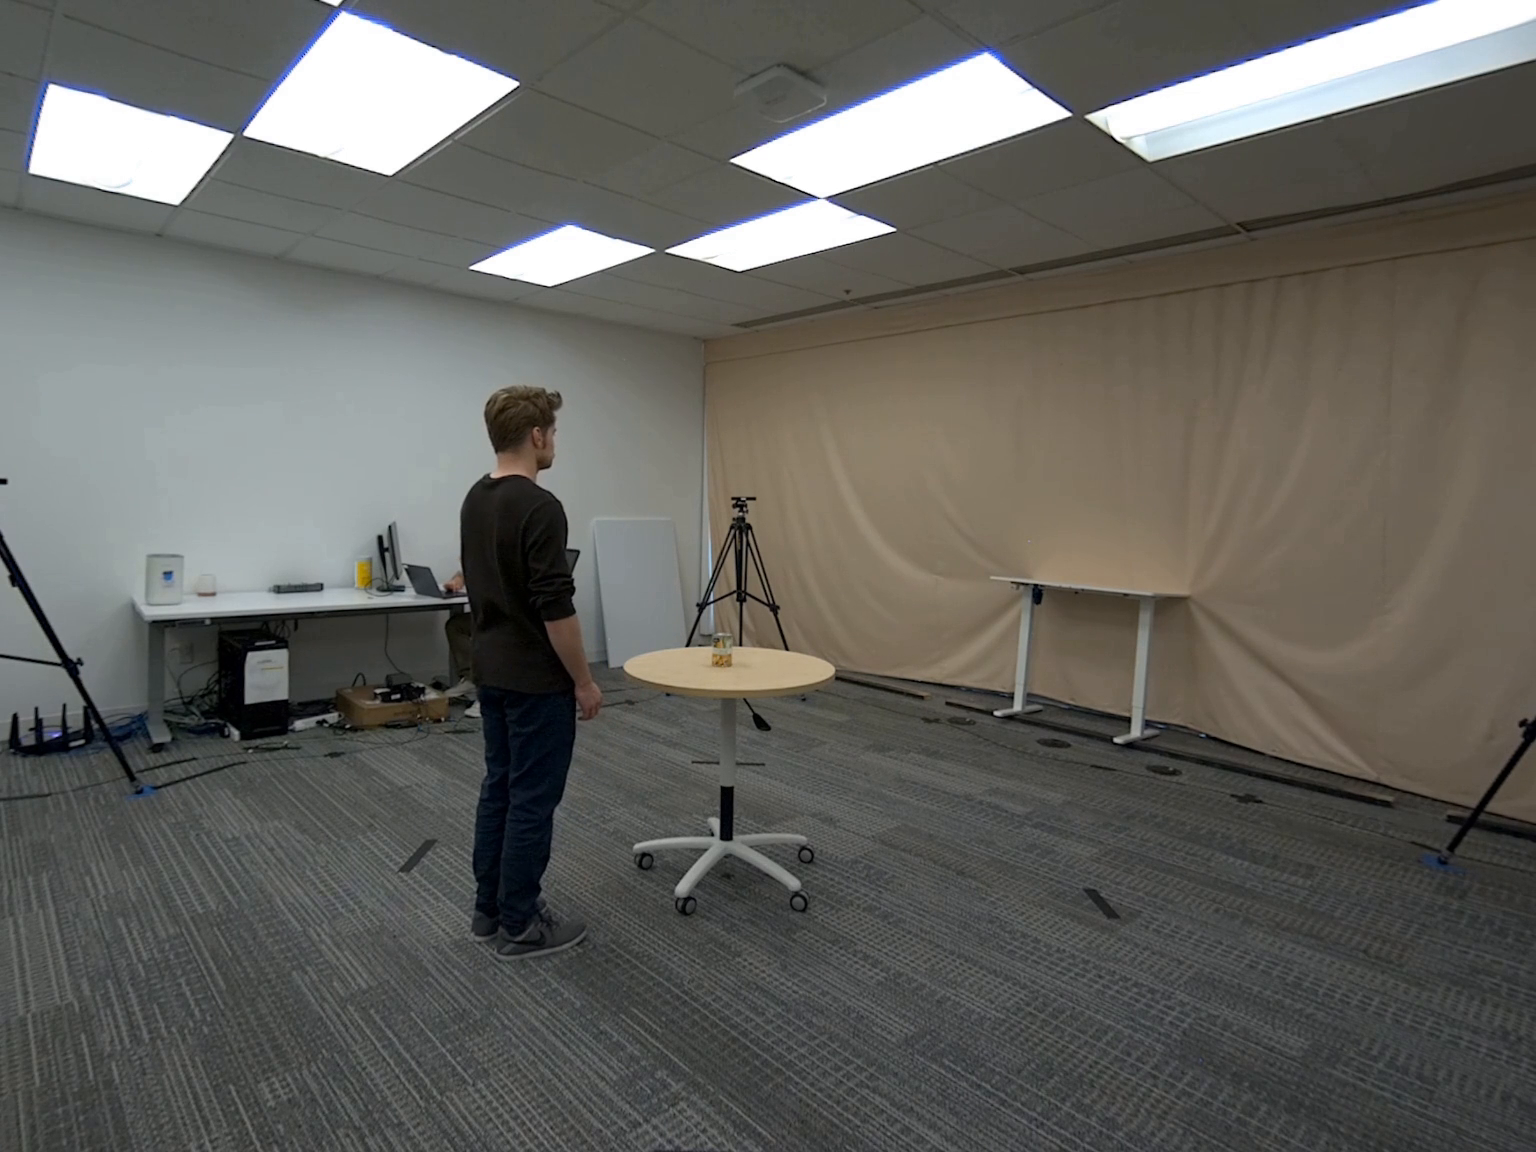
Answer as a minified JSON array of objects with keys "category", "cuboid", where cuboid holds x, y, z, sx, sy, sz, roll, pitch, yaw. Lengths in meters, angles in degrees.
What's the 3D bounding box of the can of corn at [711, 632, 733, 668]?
[{"category":"can of corn","cuboid":[-0.174,0.269,3.058,0.074,0.110,0.074,0,5,-1]}]
